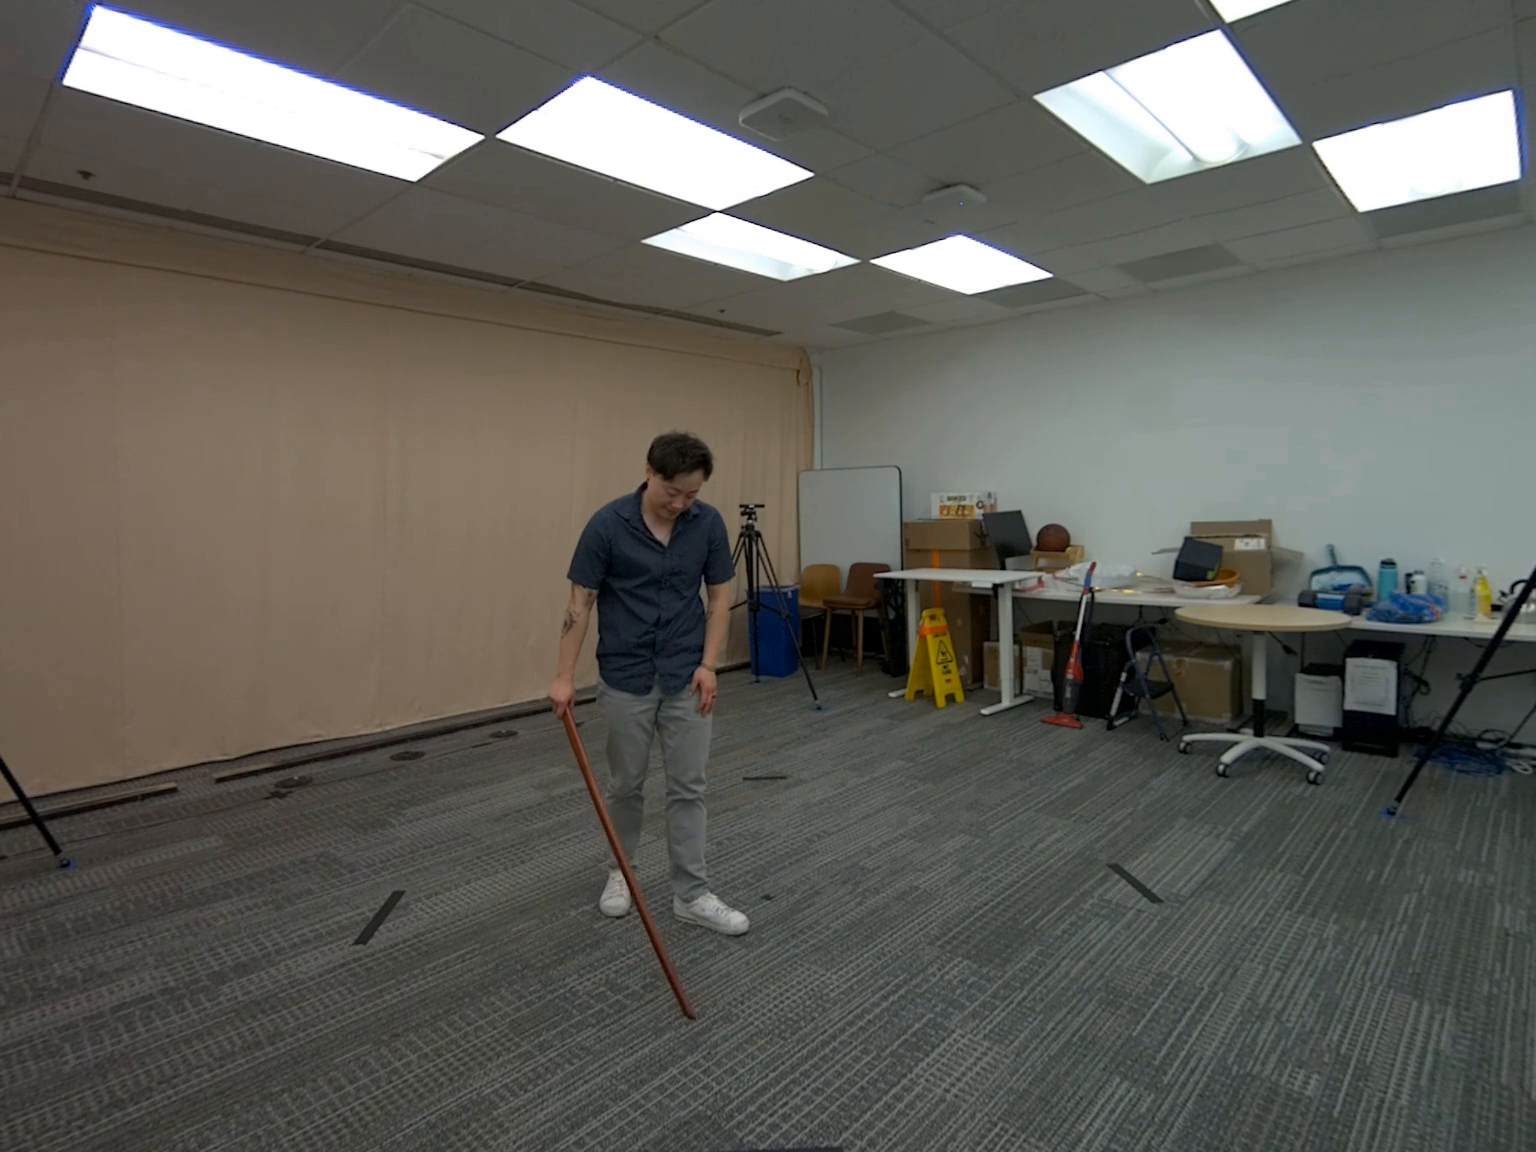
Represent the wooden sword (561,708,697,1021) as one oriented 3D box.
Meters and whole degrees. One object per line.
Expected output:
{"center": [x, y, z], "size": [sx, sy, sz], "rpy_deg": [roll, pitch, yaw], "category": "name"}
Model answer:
{"center": [-0.434, 0.797, 2.522], "size": [0.023, 1.051, 0.051], "rpy_deg": [-6, -35, -40], "category": "wooden sword"}
